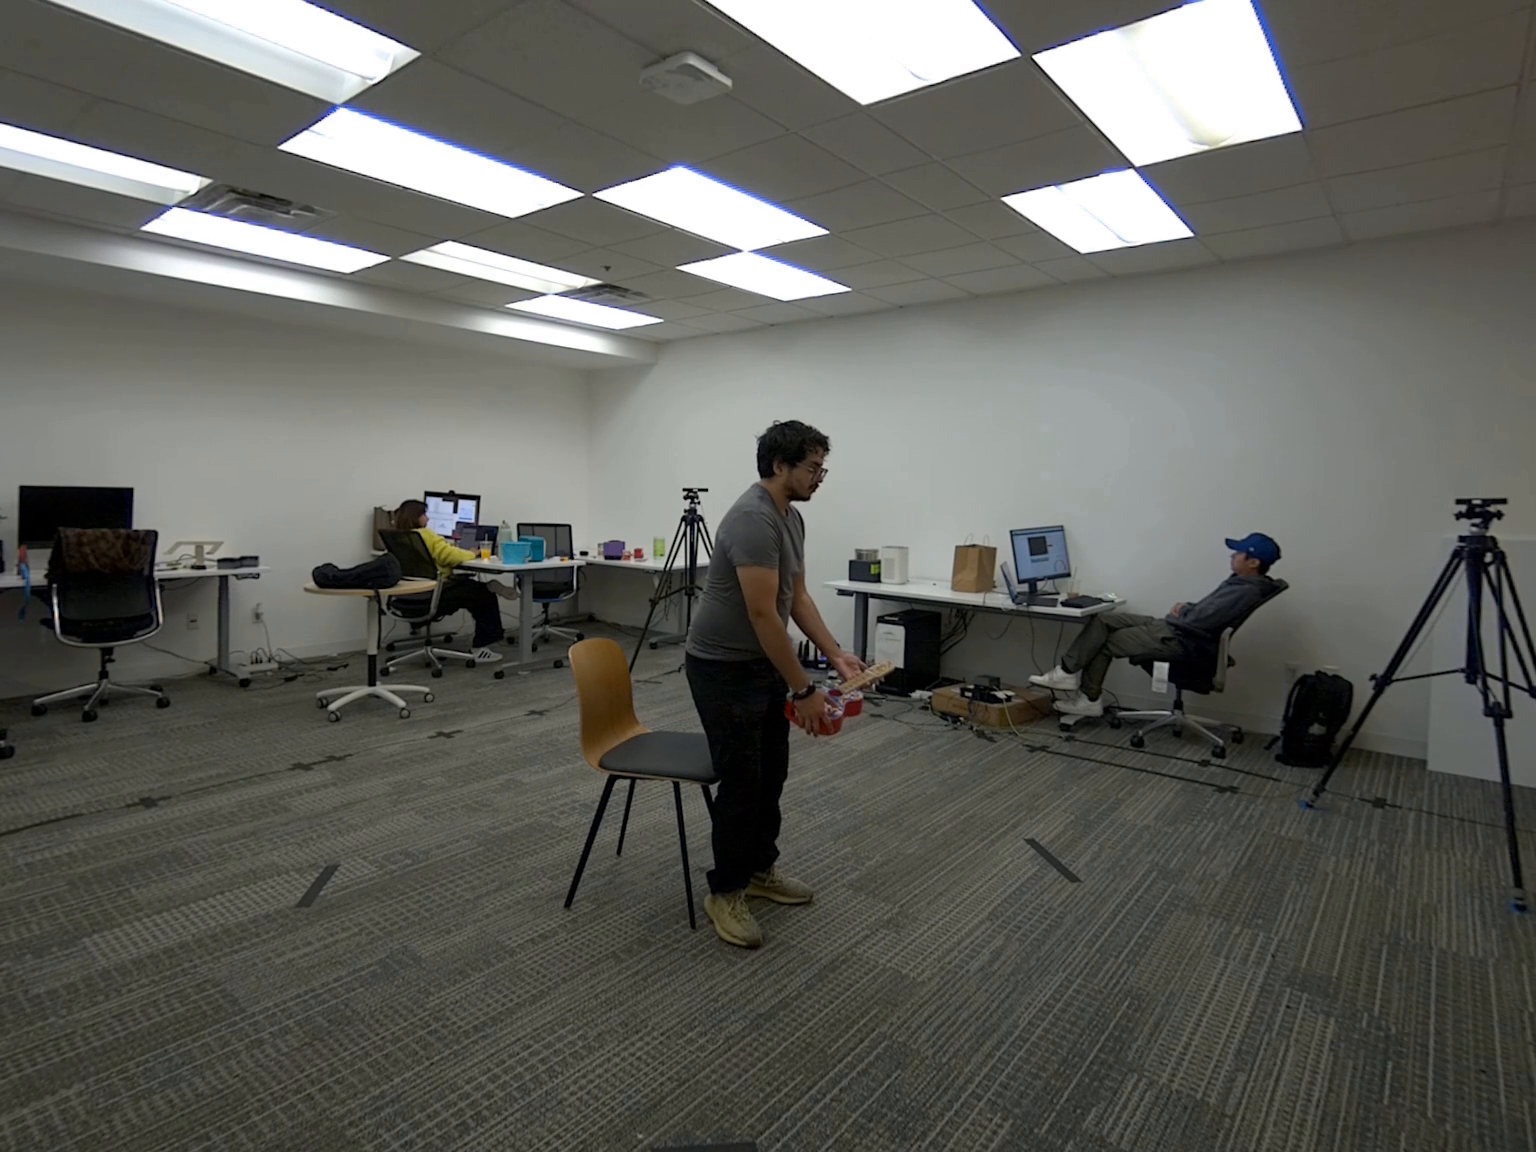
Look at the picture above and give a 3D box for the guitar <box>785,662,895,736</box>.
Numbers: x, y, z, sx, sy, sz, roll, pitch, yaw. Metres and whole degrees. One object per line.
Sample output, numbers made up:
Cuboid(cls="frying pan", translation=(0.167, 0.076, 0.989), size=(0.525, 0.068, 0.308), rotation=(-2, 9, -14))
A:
Cuboid(cls="guitar", translation=(0.282, 0.403, 2.755), size=(0.486, 0.069, 0.201), rotation=(-13, 27, -37))
